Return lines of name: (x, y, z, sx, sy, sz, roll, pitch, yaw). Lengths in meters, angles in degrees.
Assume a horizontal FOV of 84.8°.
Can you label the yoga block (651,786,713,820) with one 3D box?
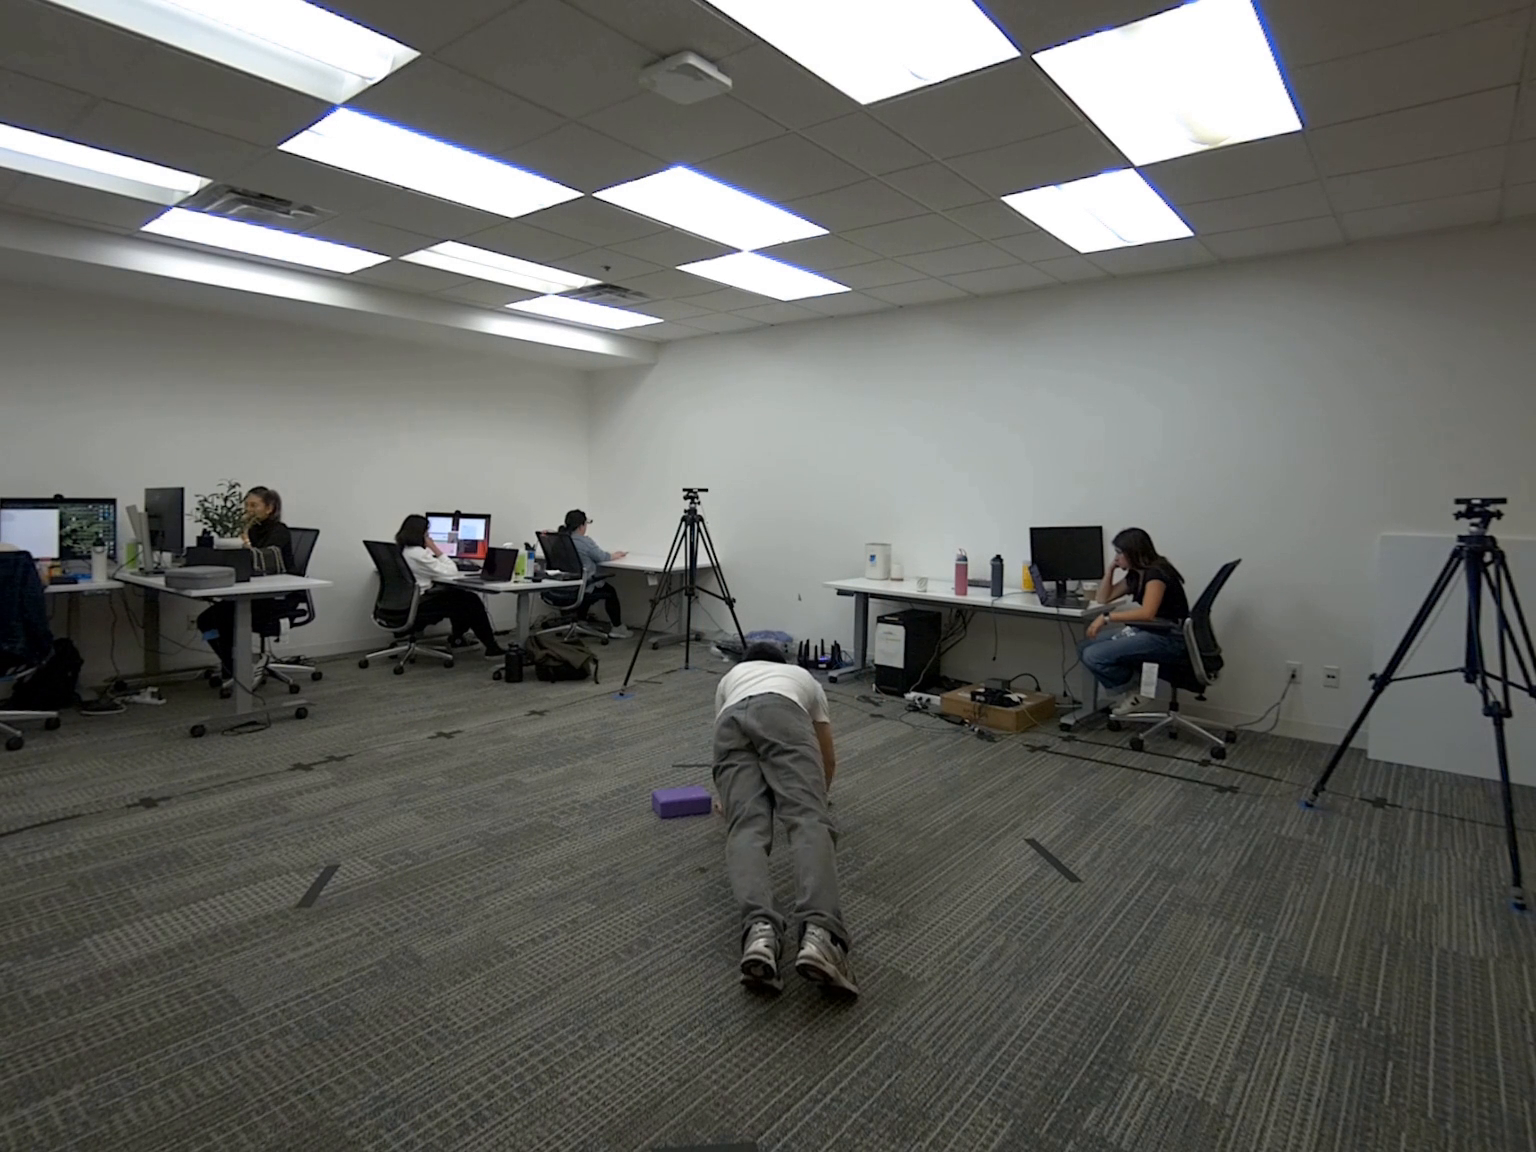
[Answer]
yoga block: (-0.374, 0.967, 3.687, 0.225, 0.076, 0.153, -2, 7, -21)
